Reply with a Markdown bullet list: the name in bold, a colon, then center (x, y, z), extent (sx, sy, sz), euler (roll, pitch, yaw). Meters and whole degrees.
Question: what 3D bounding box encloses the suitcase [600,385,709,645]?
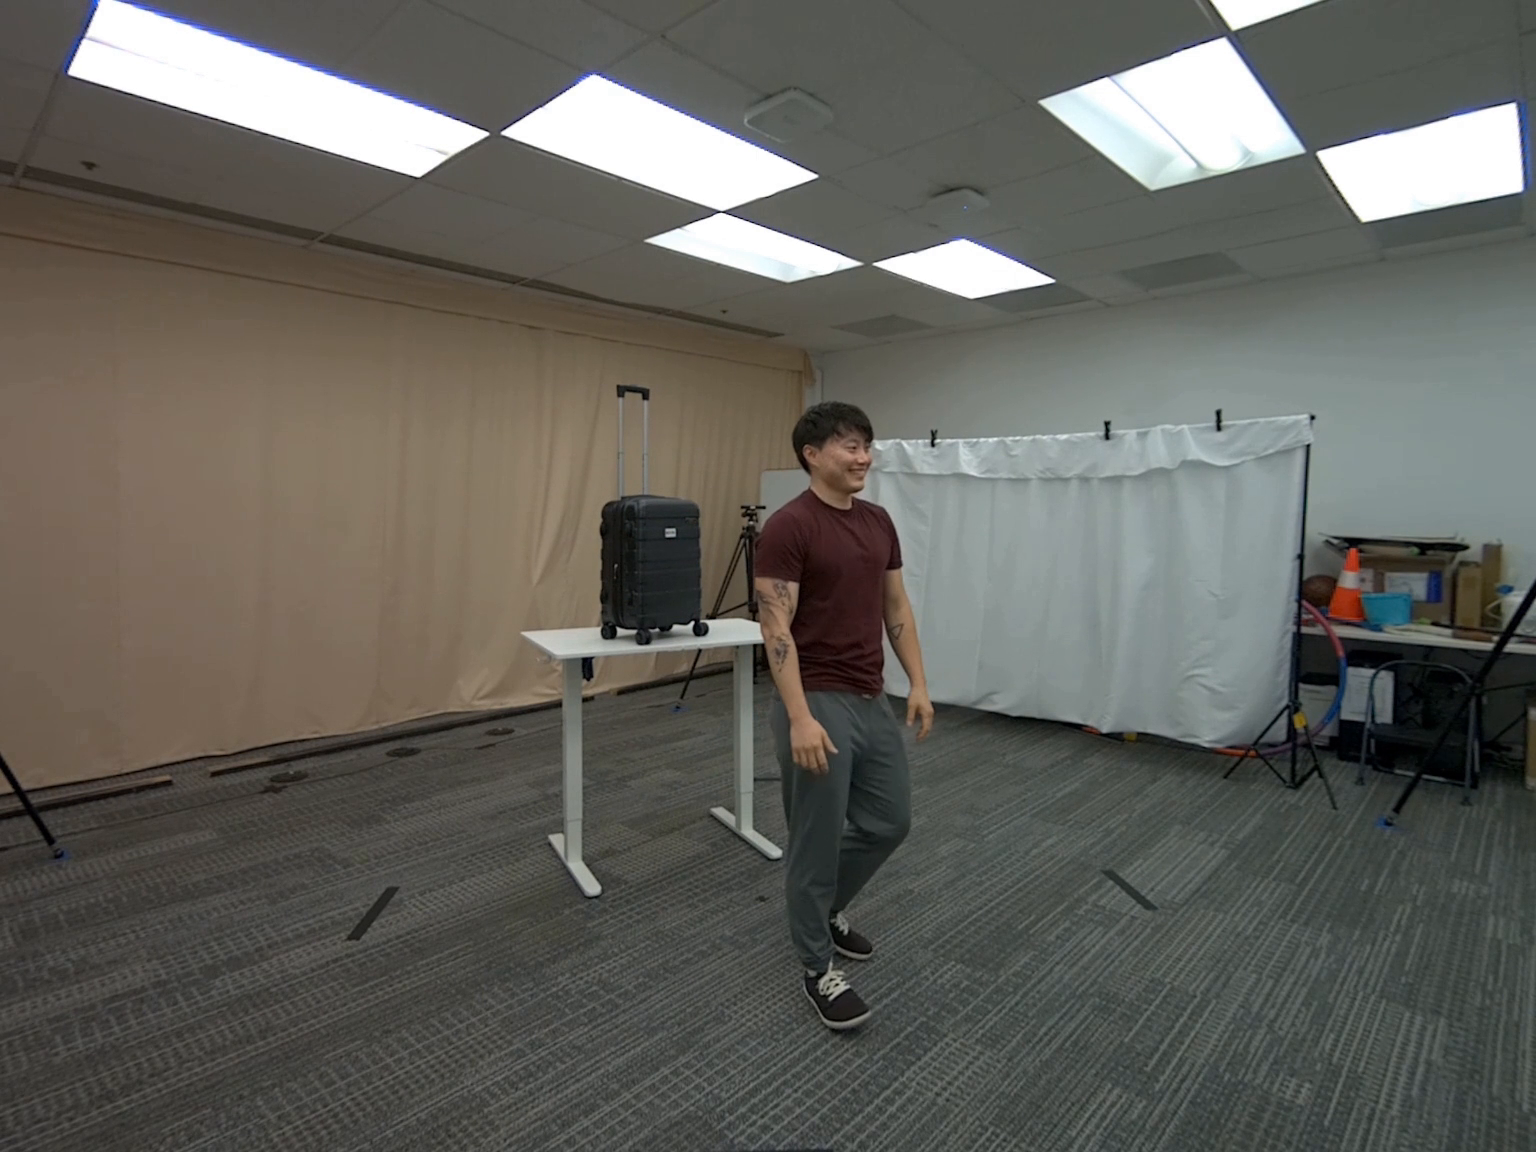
- **suitcase**: center (-0.446, -0.242, 3.272), extent (0.265, 0.976, 0.372), euler (3, 4, 42)
